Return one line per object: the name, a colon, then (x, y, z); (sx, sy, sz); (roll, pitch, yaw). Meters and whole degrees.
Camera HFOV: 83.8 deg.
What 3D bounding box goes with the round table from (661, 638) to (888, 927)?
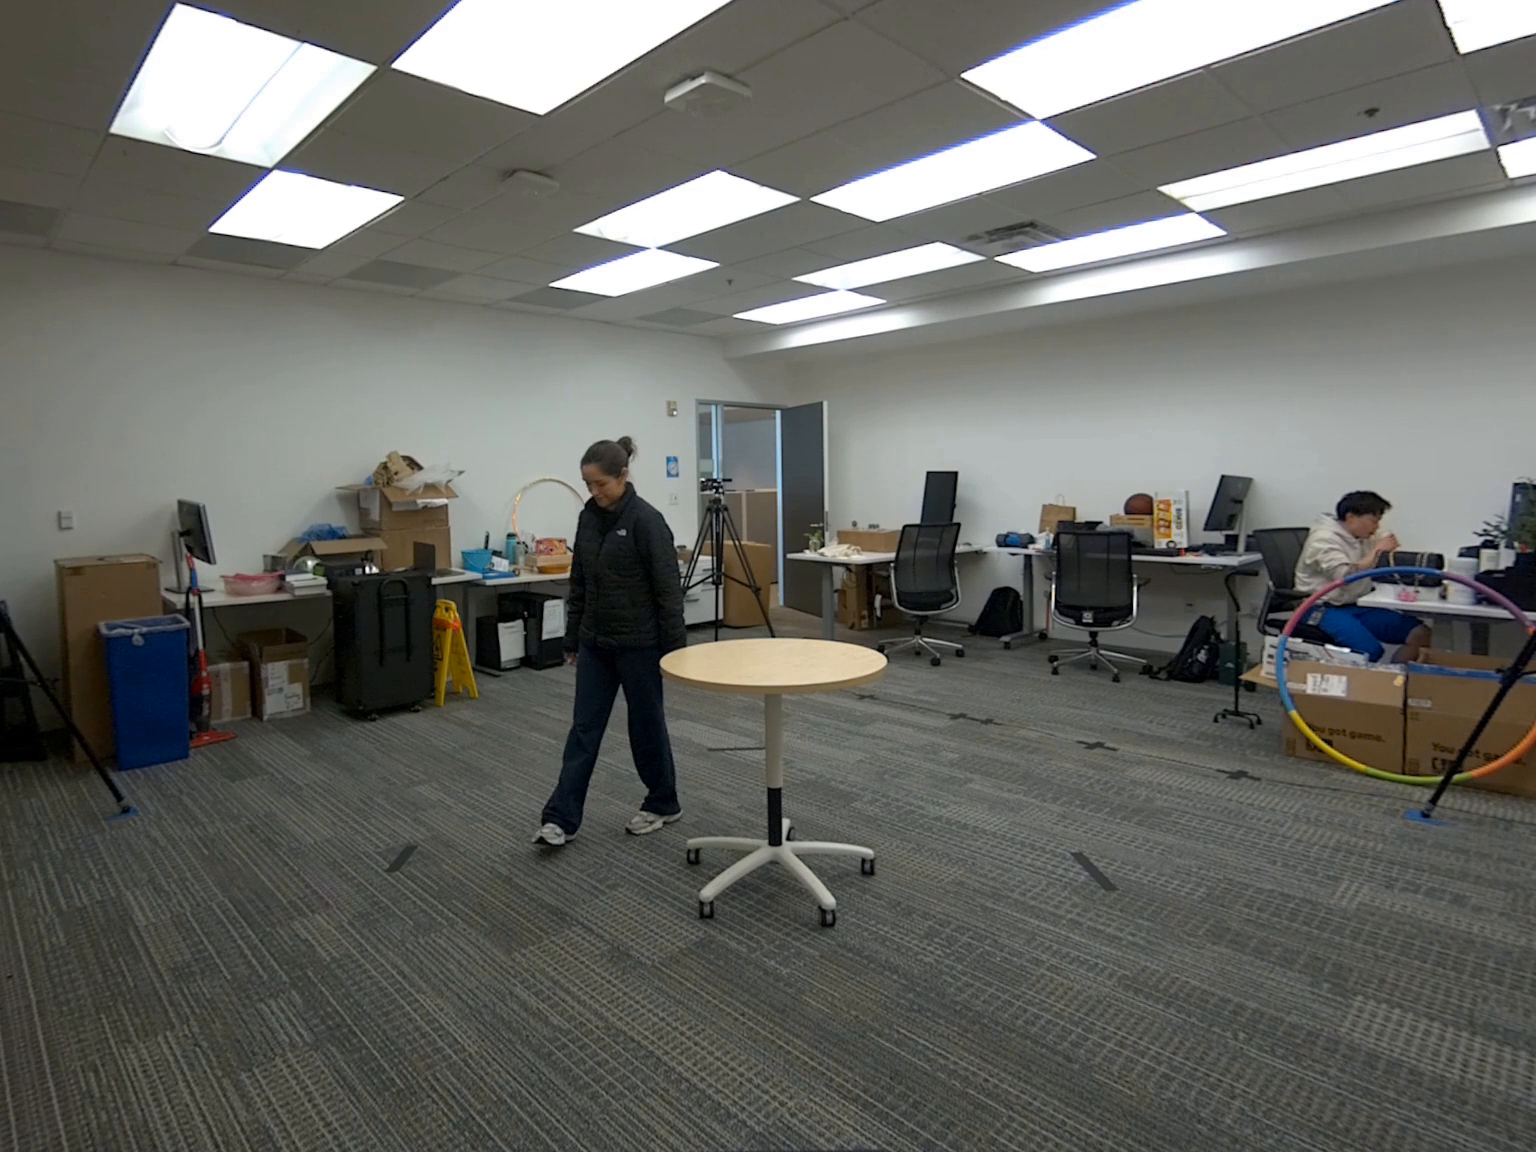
round table: (0.009, 0.670, 2.933); (0.784, 0.784, 0.789); (-1, 5, -2)
